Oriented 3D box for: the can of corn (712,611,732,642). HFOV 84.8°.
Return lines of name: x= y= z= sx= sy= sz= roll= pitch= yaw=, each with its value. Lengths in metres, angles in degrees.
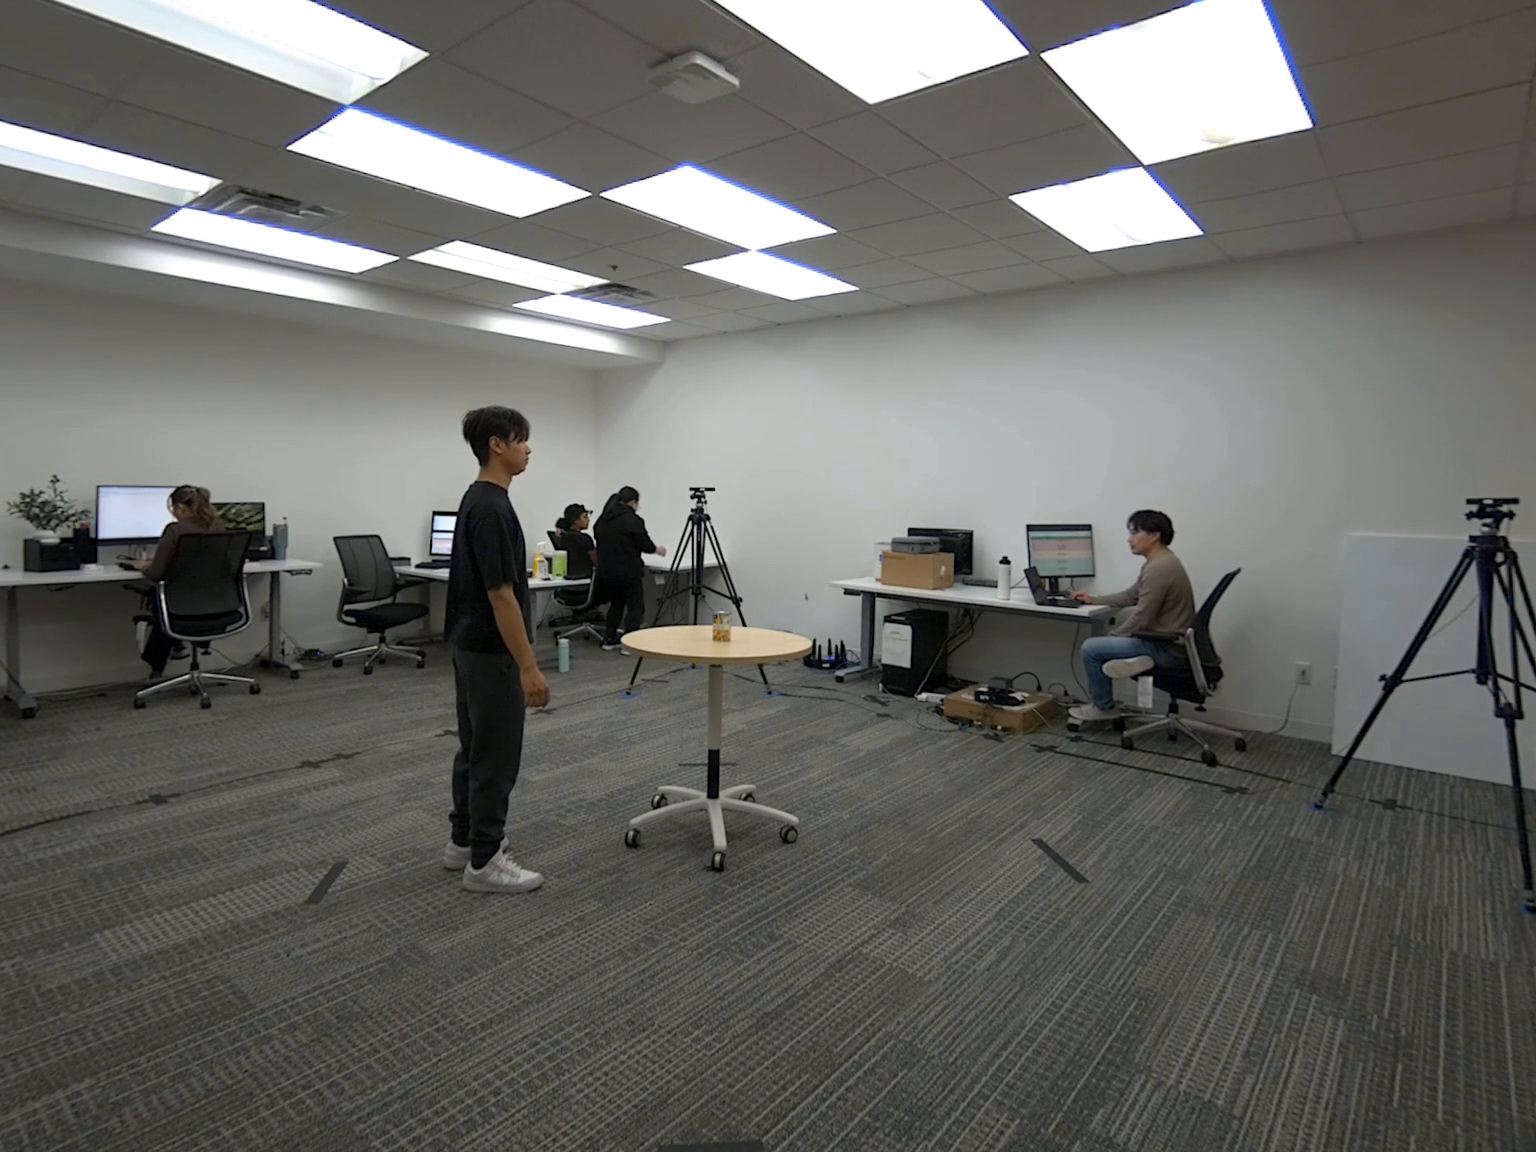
can of corn: x=-0.199 y=0.202 z=3.414 sx=0.074 sy=0.111 sz=0.074 roll=2 pitch=1 yaw=-2
